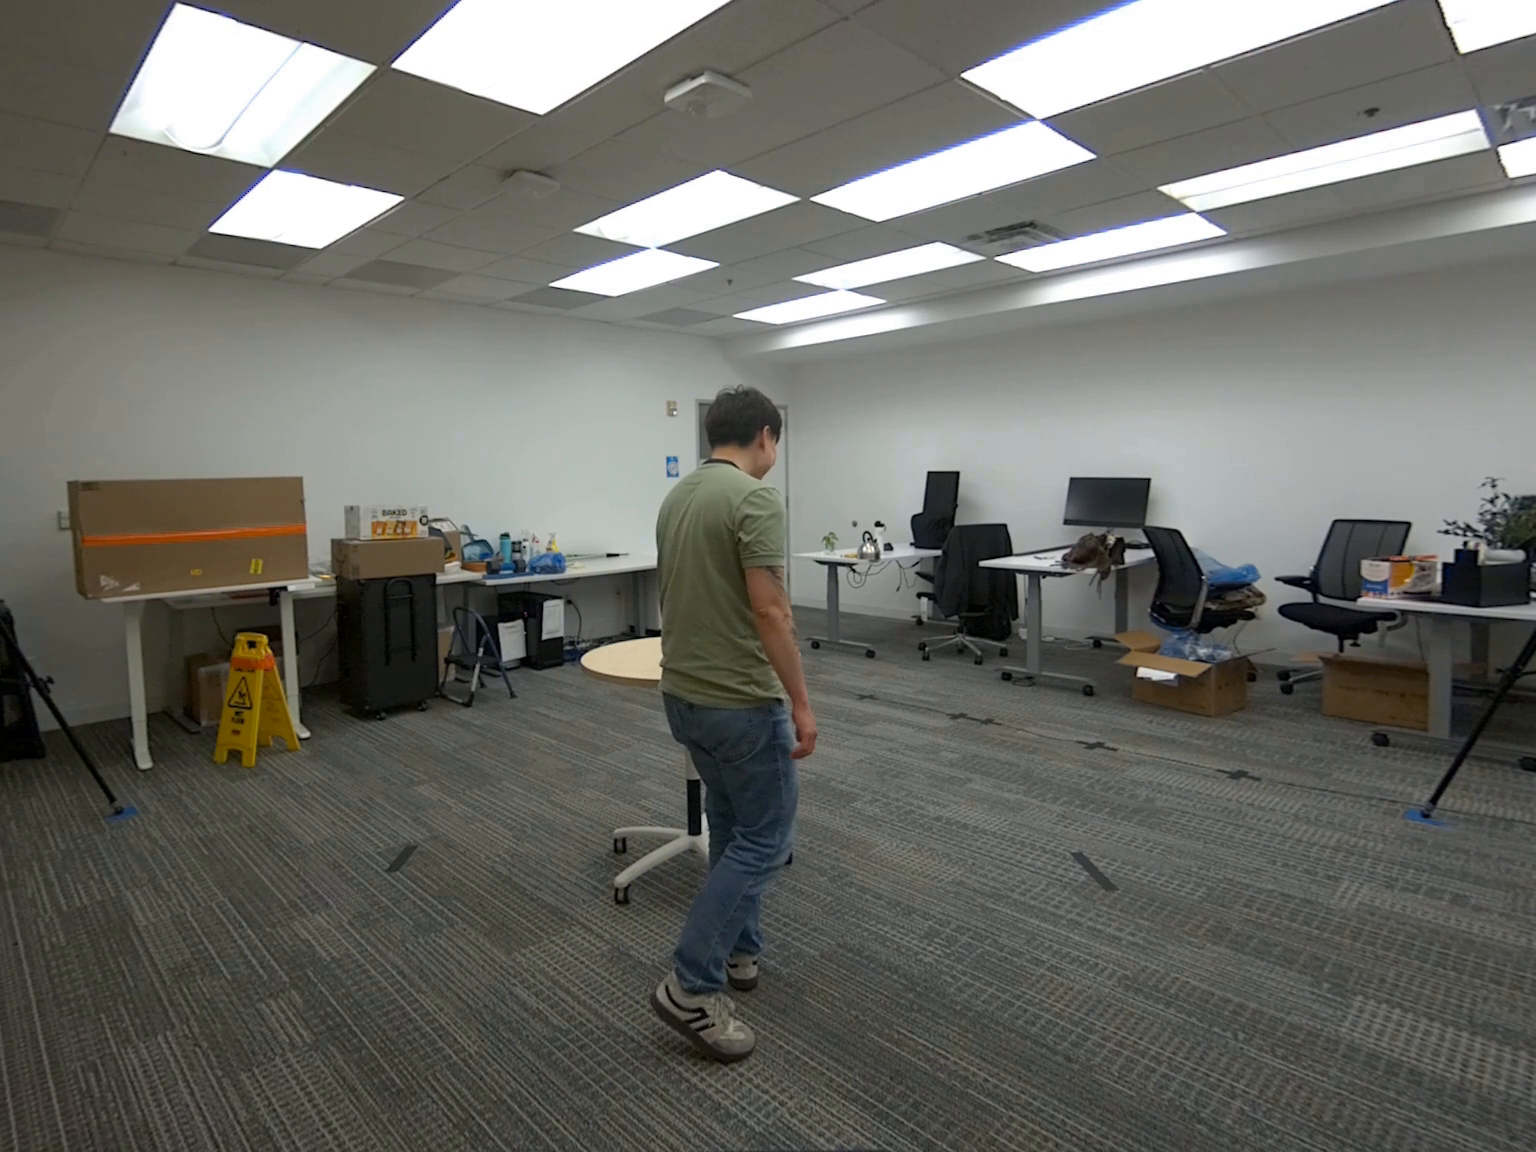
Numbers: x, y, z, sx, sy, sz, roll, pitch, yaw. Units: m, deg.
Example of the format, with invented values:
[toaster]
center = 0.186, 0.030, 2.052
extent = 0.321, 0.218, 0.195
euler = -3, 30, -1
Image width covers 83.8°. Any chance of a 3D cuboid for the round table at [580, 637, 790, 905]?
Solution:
[round table]
center = -0.262, 0.669, 3.022
extent = 0.763, 0.791, 0.768
euler = -1, 5, -2
